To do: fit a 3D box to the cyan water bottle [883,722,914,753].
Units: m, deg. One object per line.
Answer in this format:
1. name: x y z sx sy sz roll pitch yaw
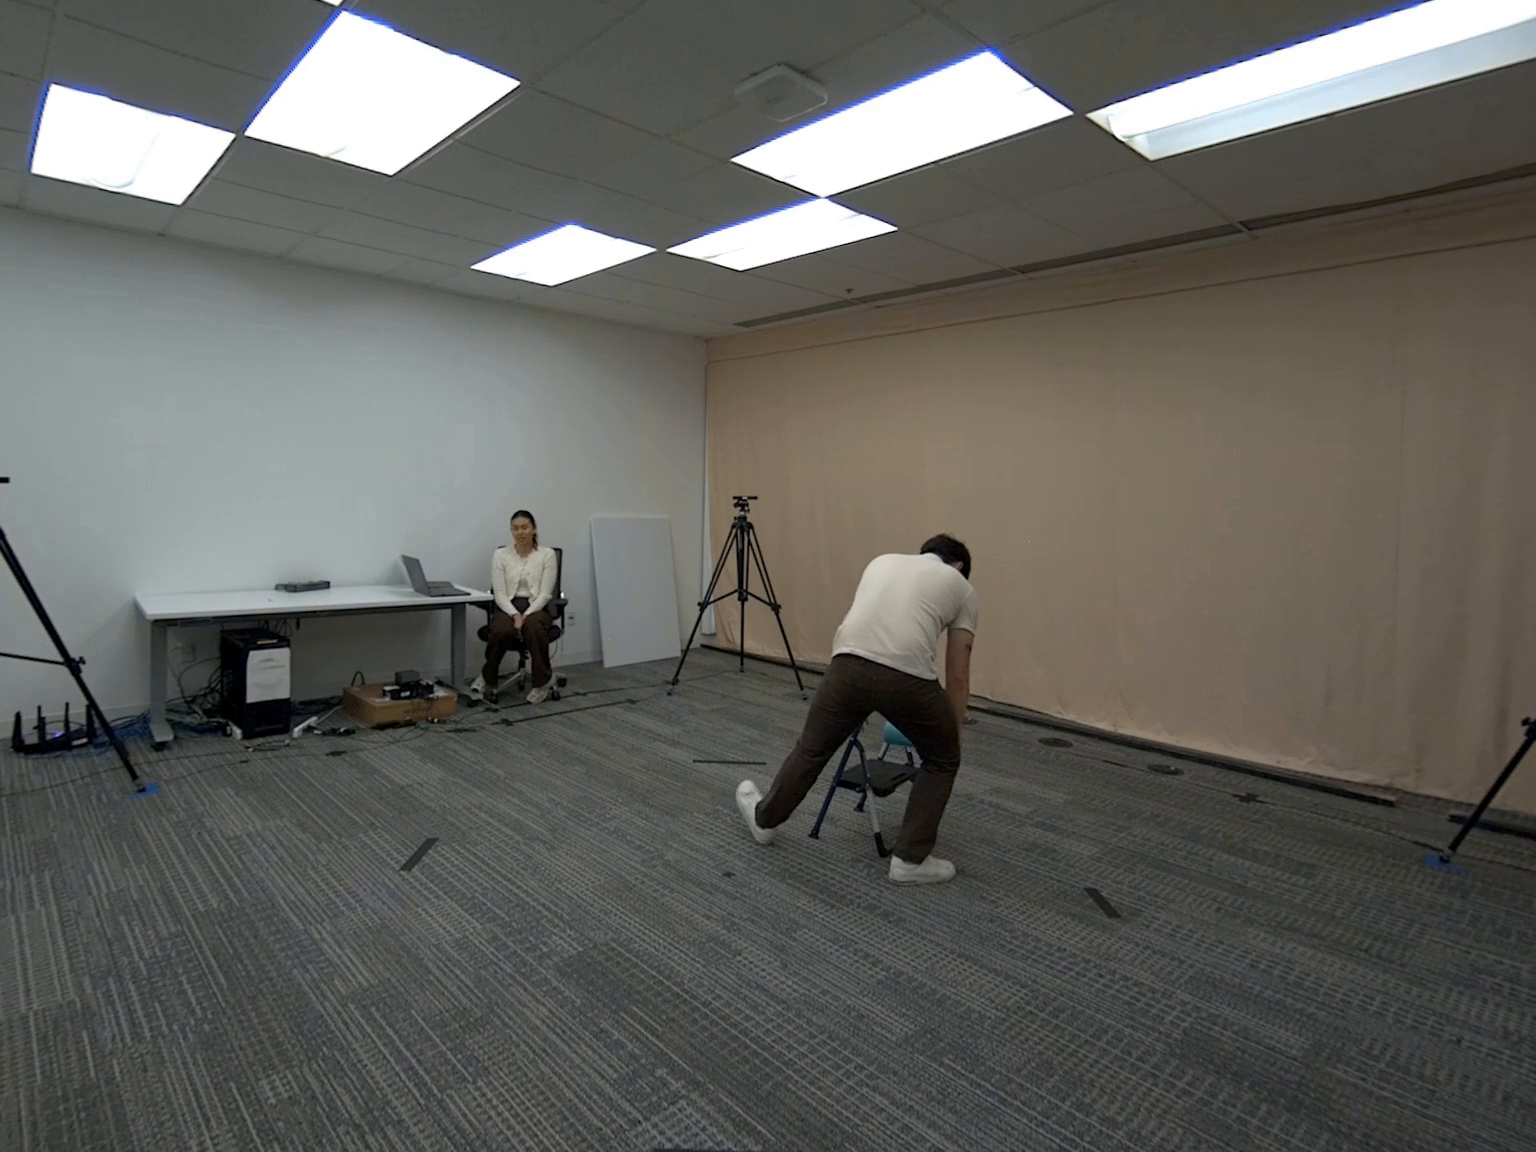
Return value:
1. cyan water bottle: 0.607 0.644 3.369 0.289 0.092 0.090 3 5 29
